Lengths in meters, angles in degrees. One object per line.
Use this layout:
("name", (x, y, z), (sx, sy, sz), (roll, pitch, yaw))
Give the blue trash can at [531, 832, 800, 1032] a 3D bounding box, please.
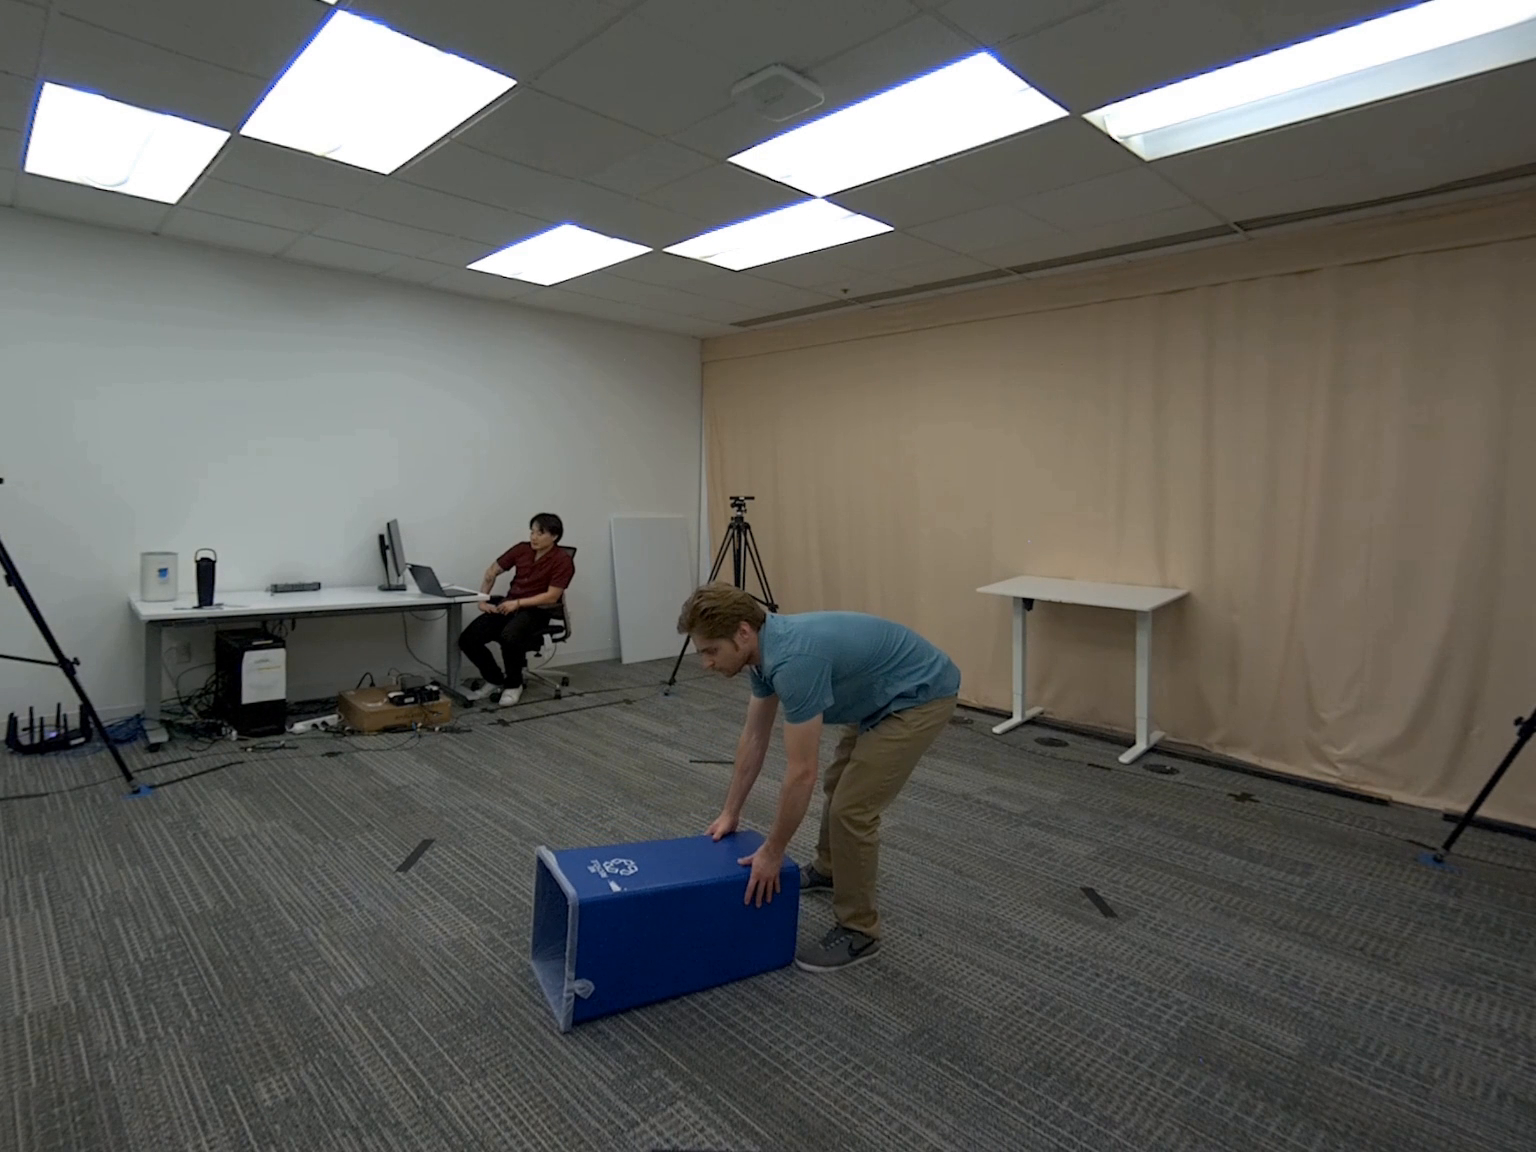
("blue trash can", (-0.300, 0.994, 2.469), (0.699, 0.377, 0.382), (2, 4, -29))
